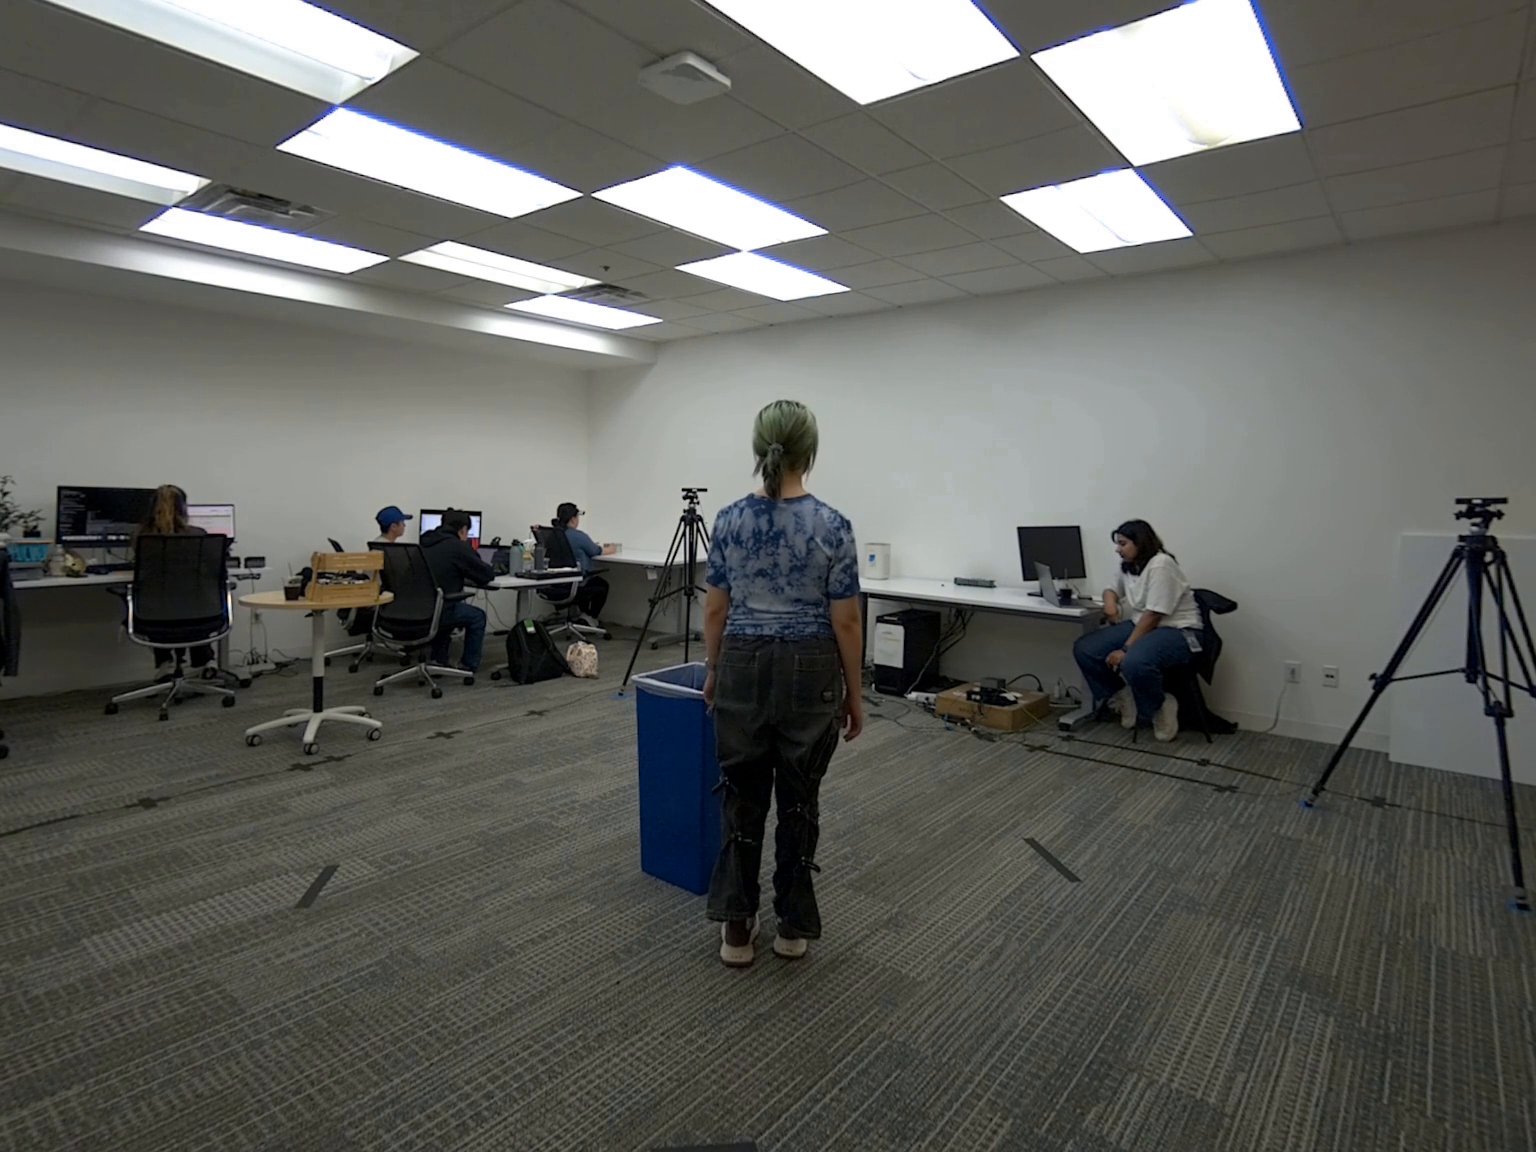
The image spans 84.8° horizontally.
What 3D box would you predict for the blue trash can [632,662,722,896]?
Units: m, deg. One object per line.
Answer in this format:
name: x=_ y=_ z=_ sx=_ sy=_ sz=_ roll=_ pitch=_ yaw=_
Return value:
blue trash can: x=-0.265 y=0.714 z=3.085 sx=0.390 sy=0.712 sz=0.363 roll=3 pitch=3 yaw=38
